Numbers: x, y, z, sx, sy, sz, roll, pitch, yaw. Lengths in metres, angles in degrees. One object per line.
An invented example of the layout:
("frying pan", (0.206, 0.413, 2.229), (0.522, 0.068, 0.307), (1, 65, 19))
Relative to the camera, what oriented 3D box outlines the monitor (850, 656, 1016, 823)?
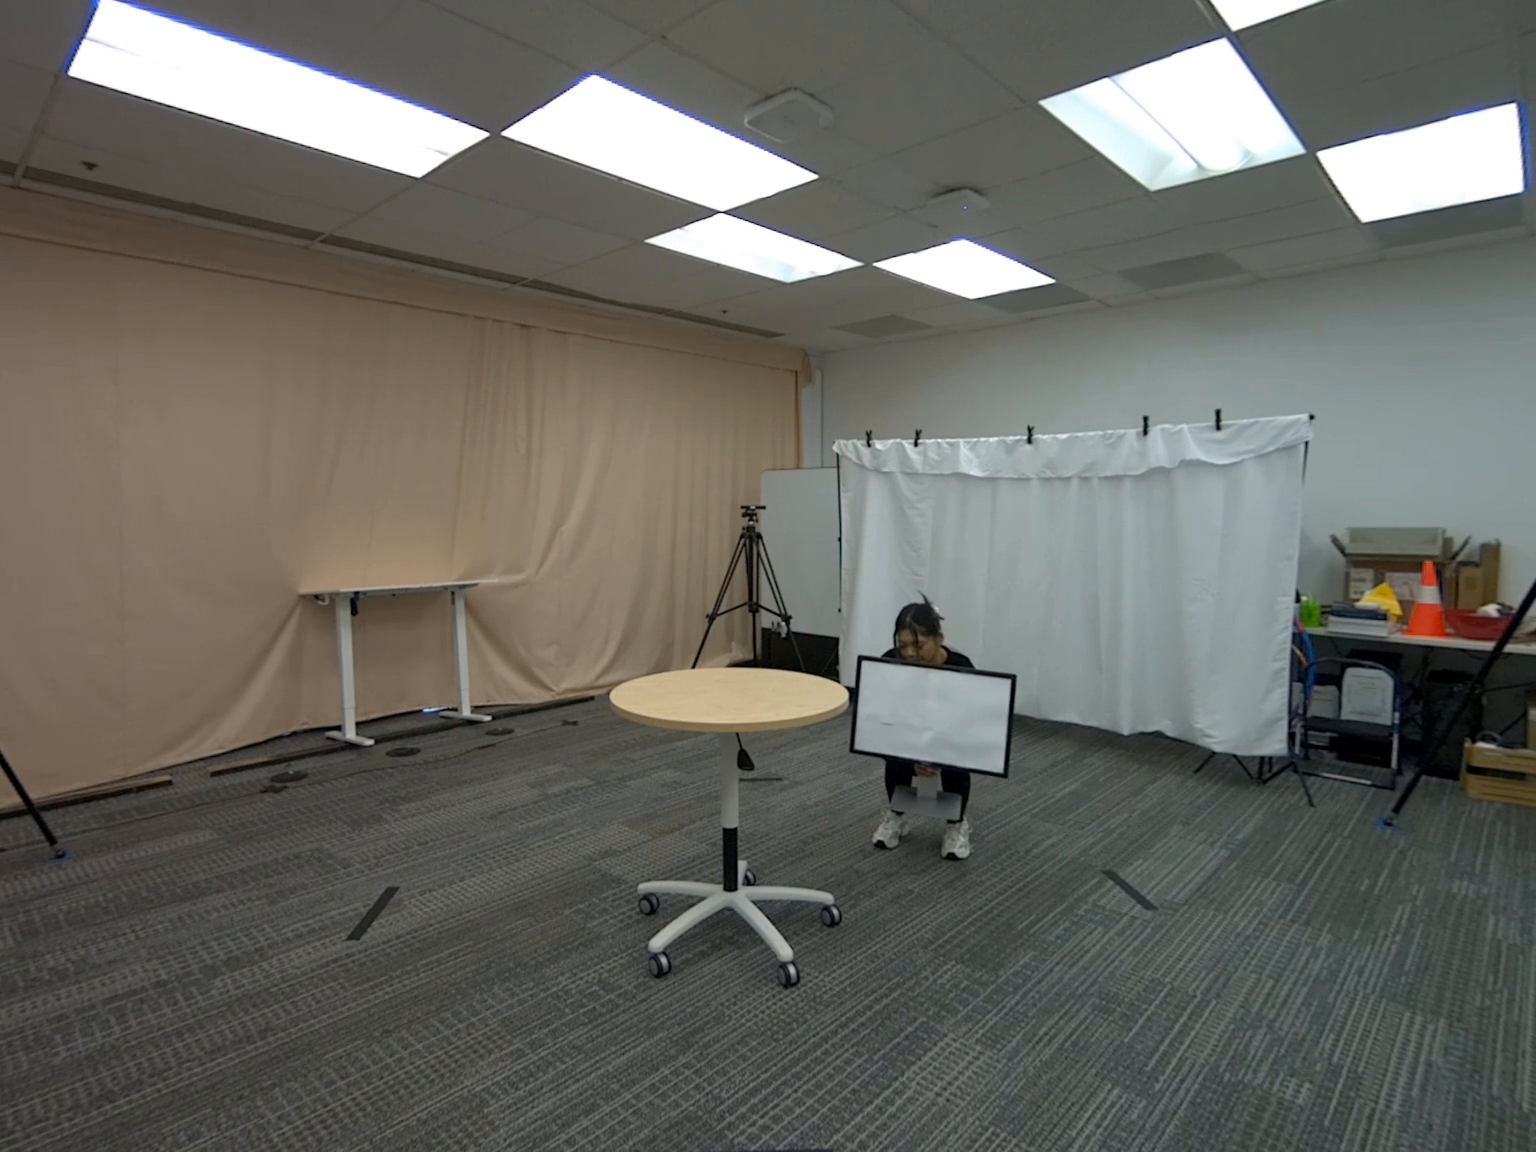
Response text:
("monitor", (0.599, 0.586, 3.081), (0.550, 0.519, 0.185), (5, 12, 18))
